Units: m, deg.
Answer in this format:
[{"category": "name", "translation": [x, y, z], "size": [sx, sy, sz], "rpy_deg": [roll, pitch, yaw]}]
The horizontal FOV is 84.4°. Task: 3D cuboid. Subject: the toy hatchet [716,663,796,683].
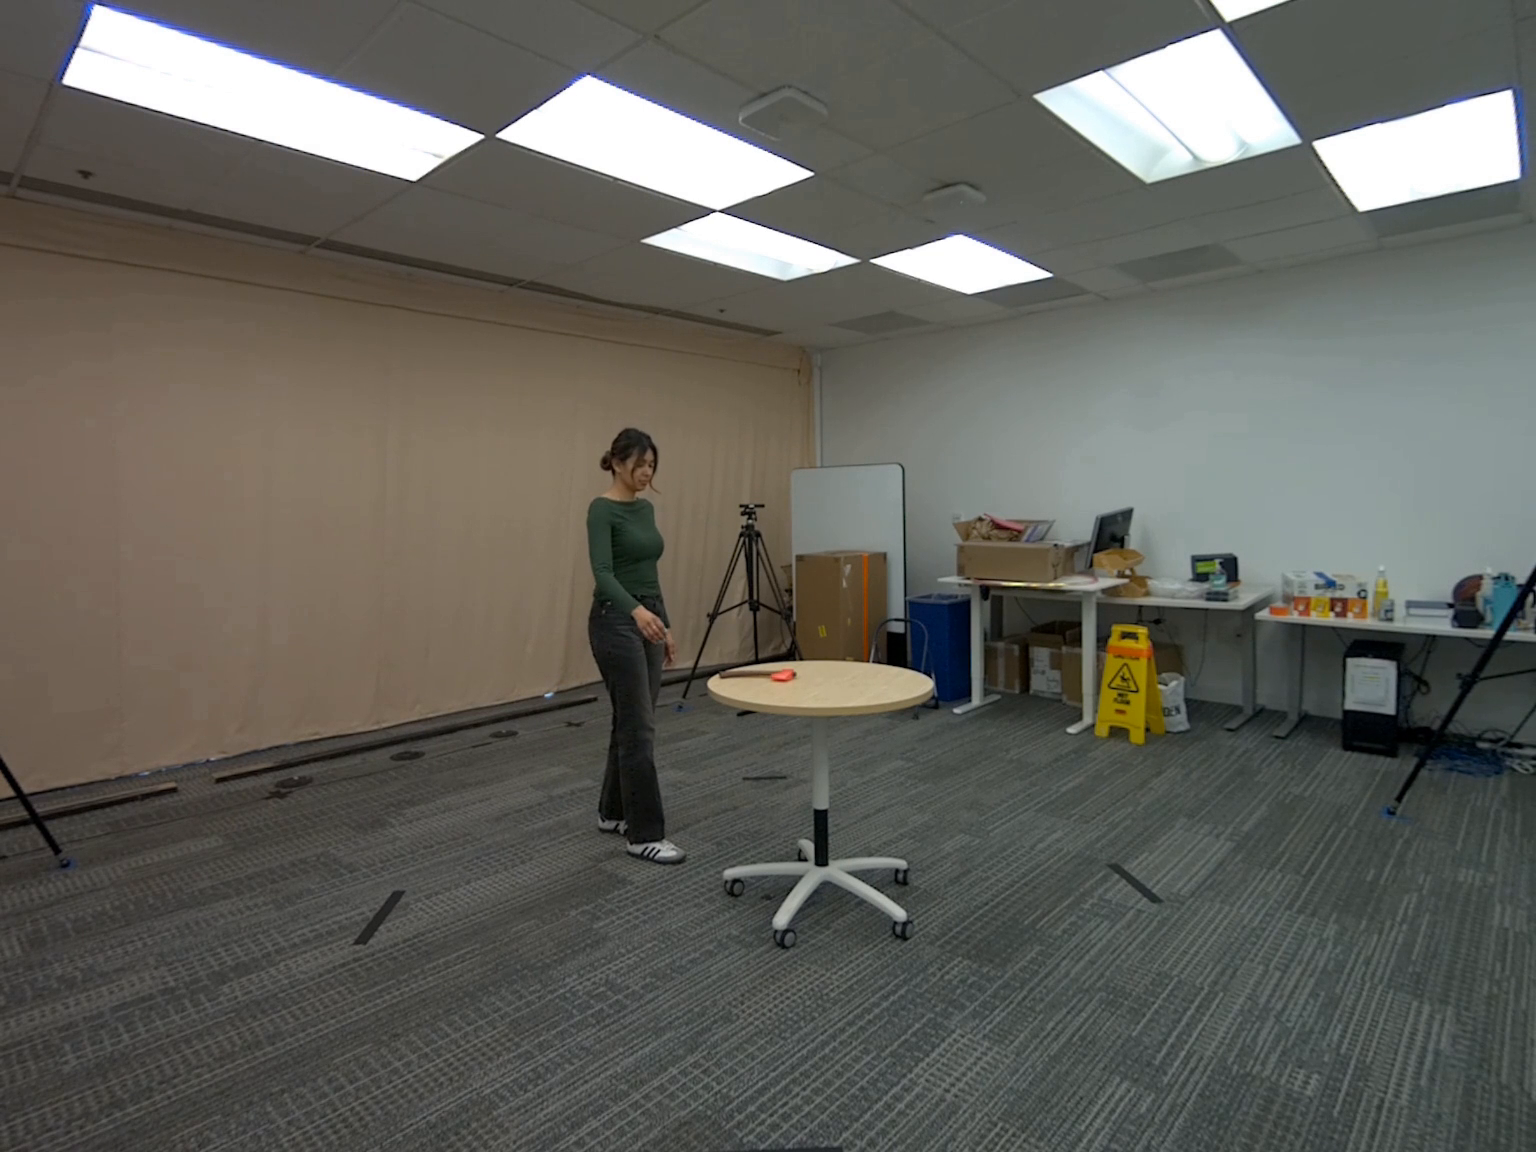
[{"category": "toy hatchet", "translation": [-0.031, 0.351, 2.943], "size": [0.269, 0.029, 0.132], "rpy_deg": [-3, 8, -3]}]
